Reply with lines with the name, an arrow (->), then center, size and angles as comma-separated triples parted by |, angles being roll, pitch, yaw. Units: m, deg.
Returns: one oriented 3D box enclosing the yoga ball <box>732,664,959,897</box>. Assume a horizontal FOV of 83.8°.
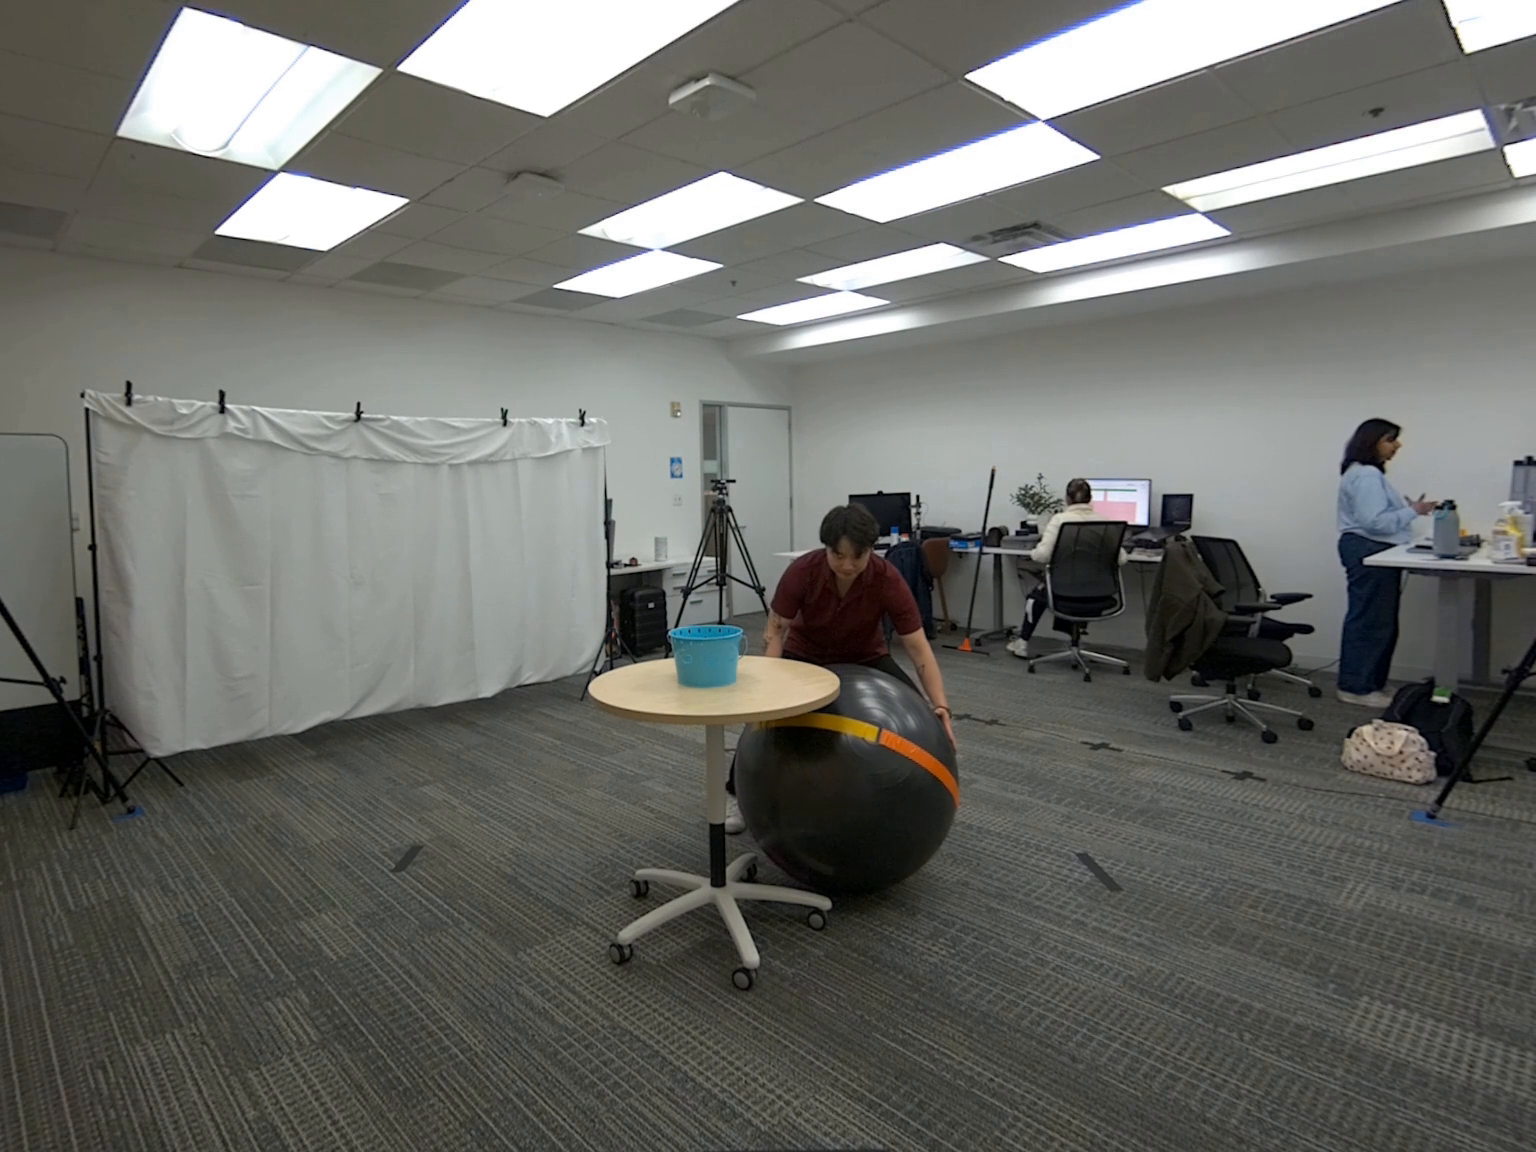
yoga ball -> 0.272, 0.698, 2.952 | 0.757, 0.755, 0.762 | -1, 5, -2
